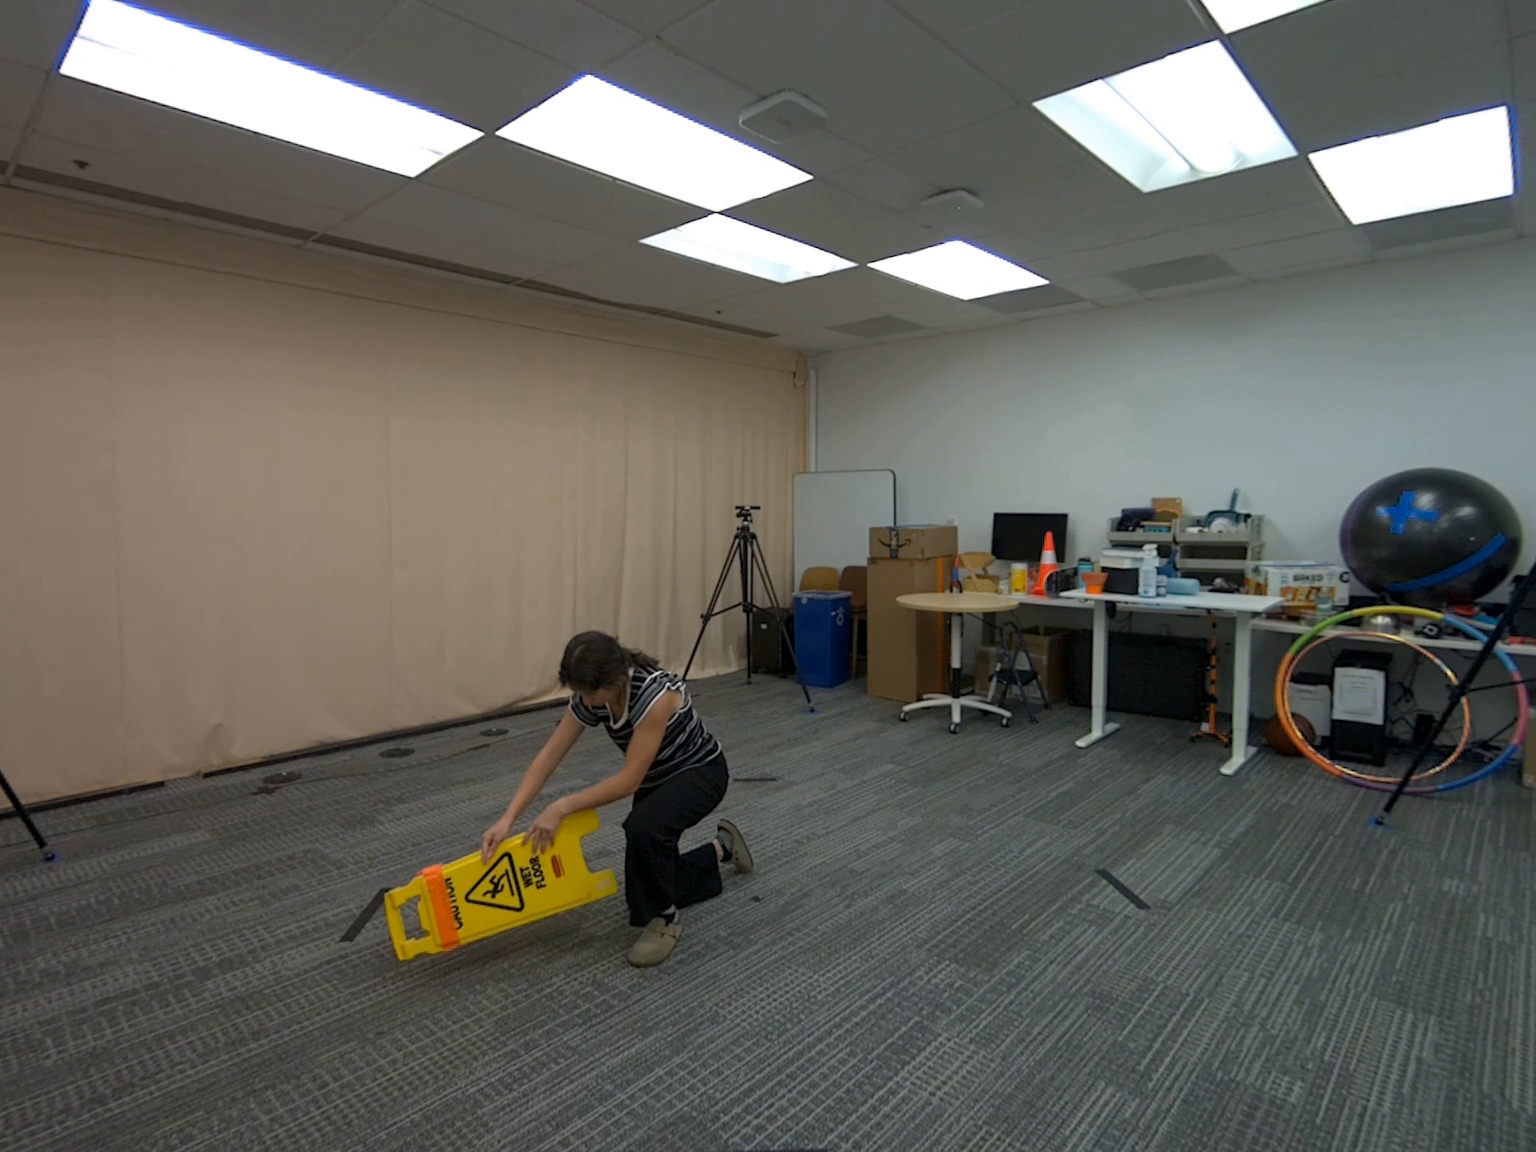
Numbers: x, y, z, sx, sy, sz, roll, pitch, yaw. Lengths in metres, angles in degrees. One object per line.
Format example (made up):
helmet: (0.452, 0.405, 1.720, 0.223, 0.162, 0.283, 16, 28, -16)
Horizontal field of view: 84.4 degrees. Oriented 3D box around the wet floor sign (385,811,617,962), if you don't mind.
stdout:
wet floor sign: (-0.840, 0.972, 2.614, 0.632, 0.285, 0.293, -13, -11, -26)
